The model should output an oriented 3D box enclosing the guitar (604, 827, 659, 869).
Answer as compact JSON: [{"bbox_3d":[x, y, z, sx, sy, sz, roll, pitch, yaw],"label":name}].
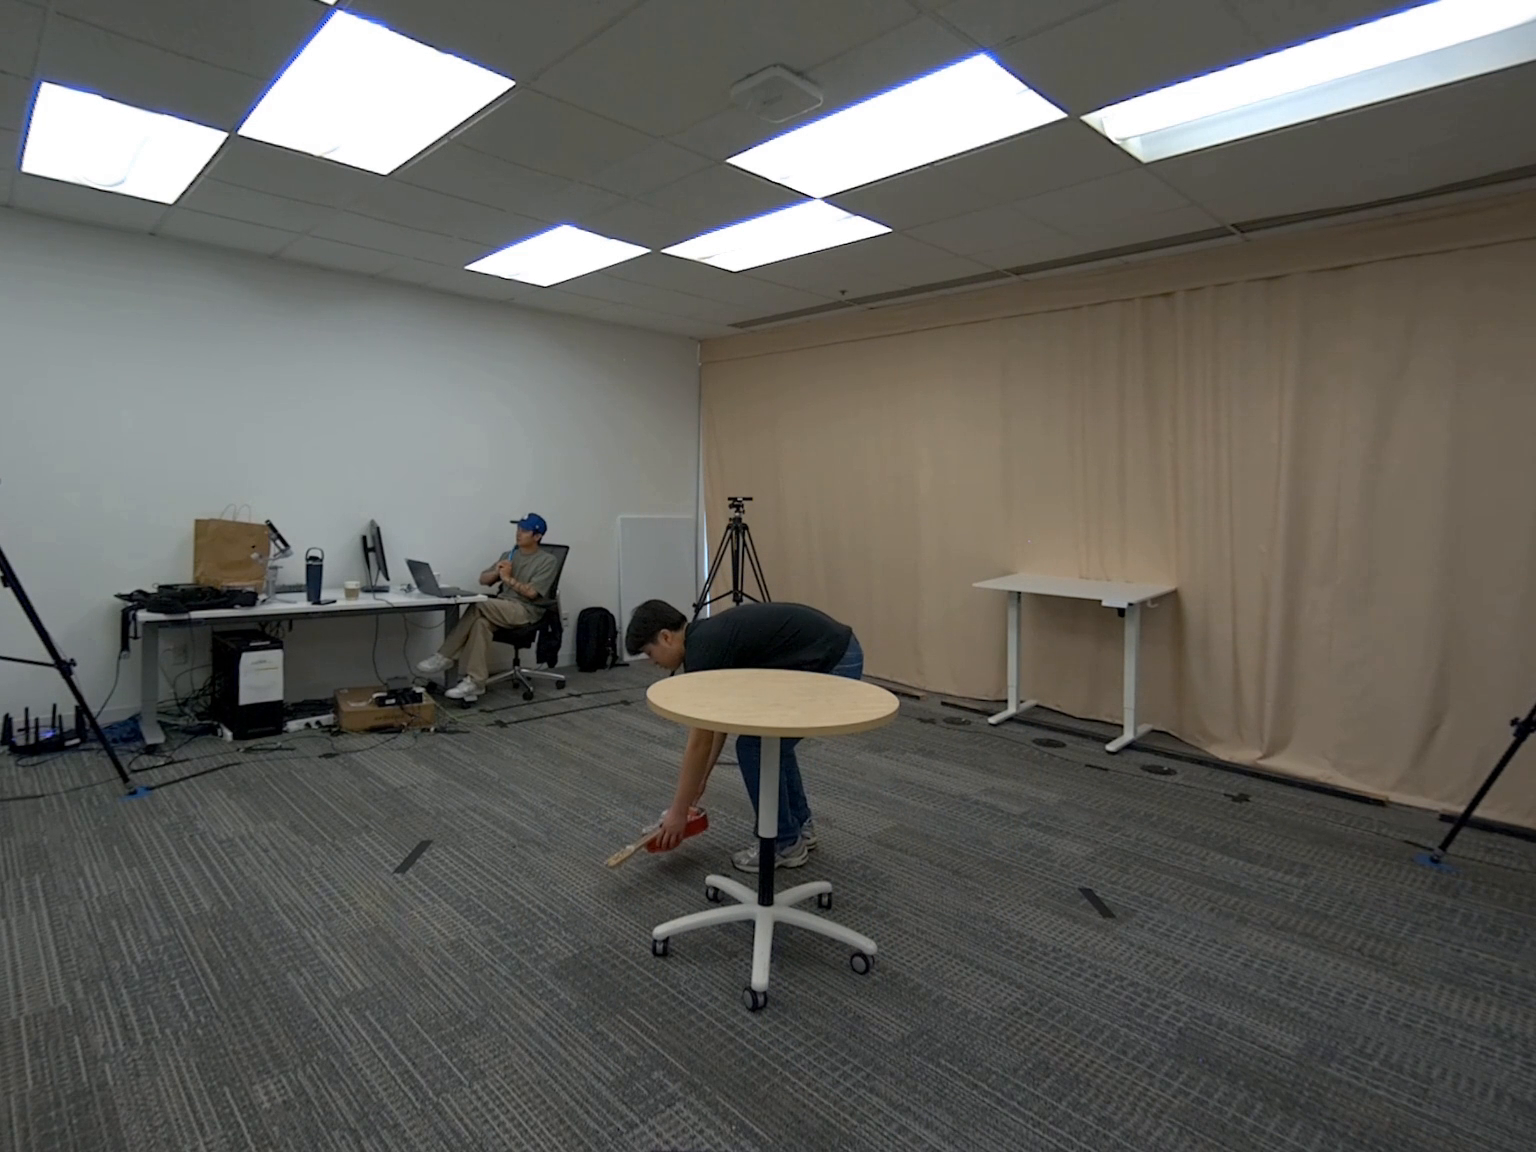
[{"bbox_3d":[-0.456,0.985,3.120,0.197,0.070,0.489,-4,9,42],"label":"guitar"}]
